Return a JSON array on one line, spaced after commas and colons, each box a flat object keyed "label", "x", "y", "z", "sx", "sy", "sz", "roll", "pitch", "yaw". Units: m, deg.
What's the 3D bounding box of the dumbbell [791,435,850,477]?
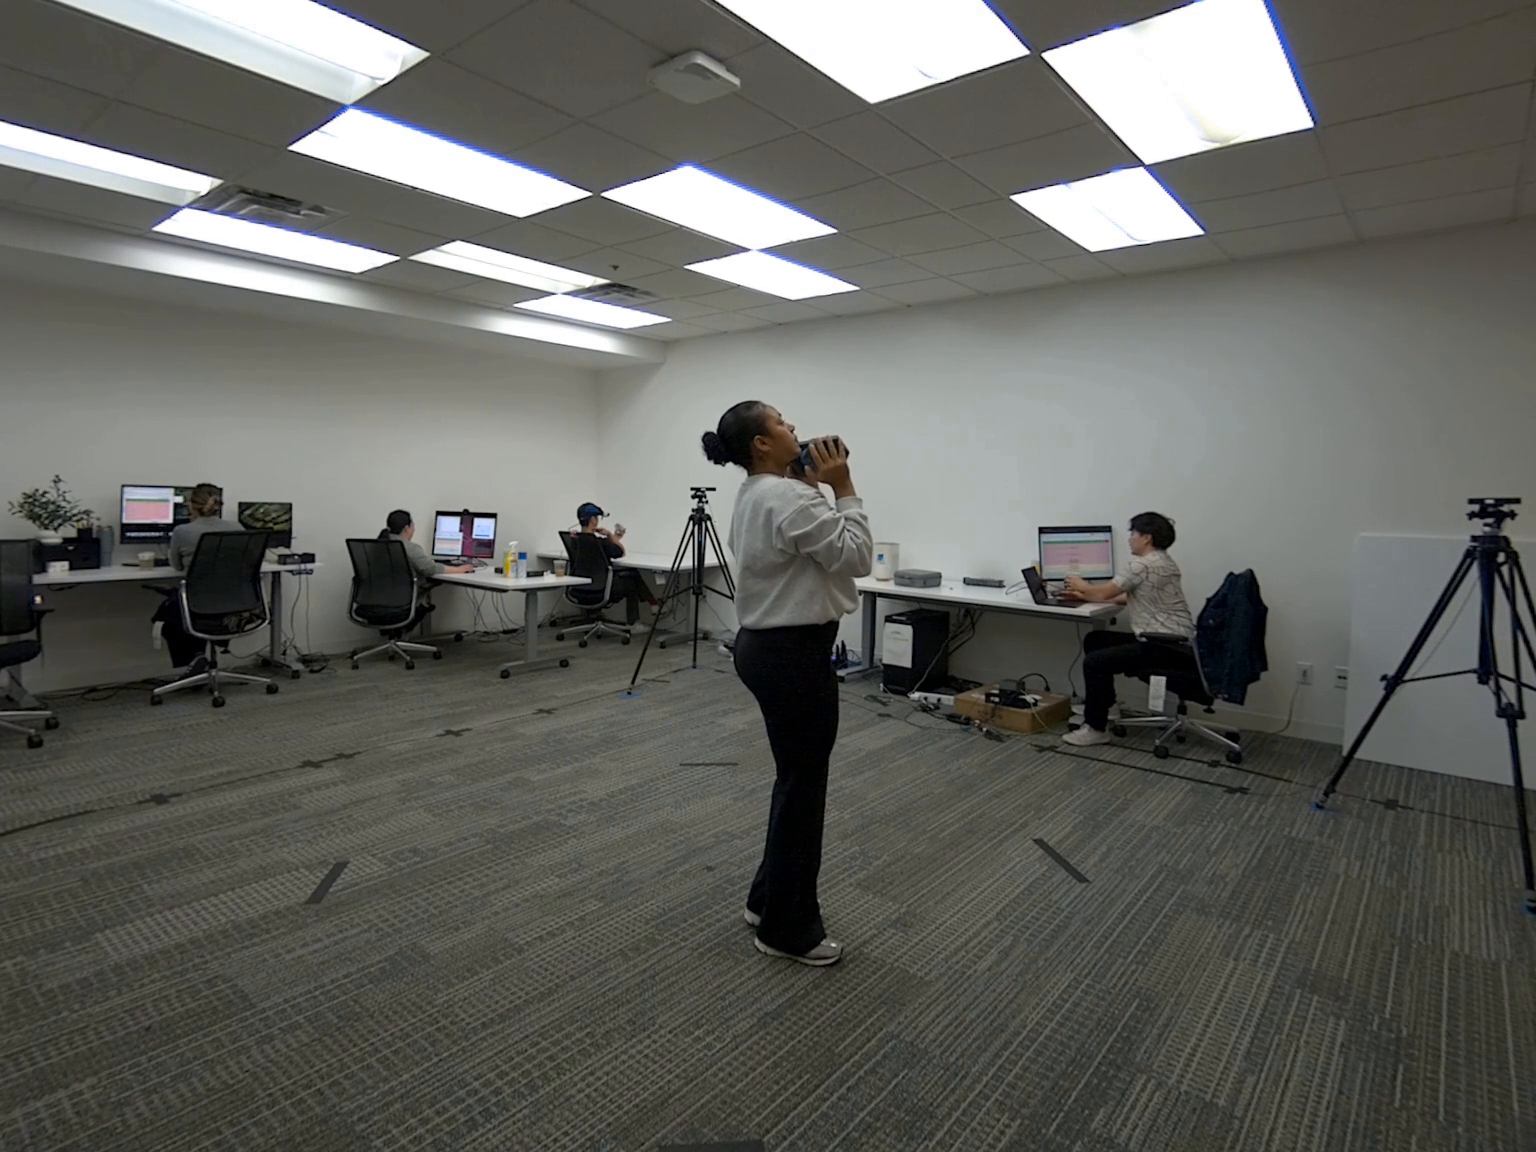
[{"label": "dumbbell", "x": 0.126, "y": -0.361, "z": 2.561, "sx": 0.107, "sy": 0.123, "sz": 0.298, "roll": 30, "pitch": -3, "yaw": -13}]
